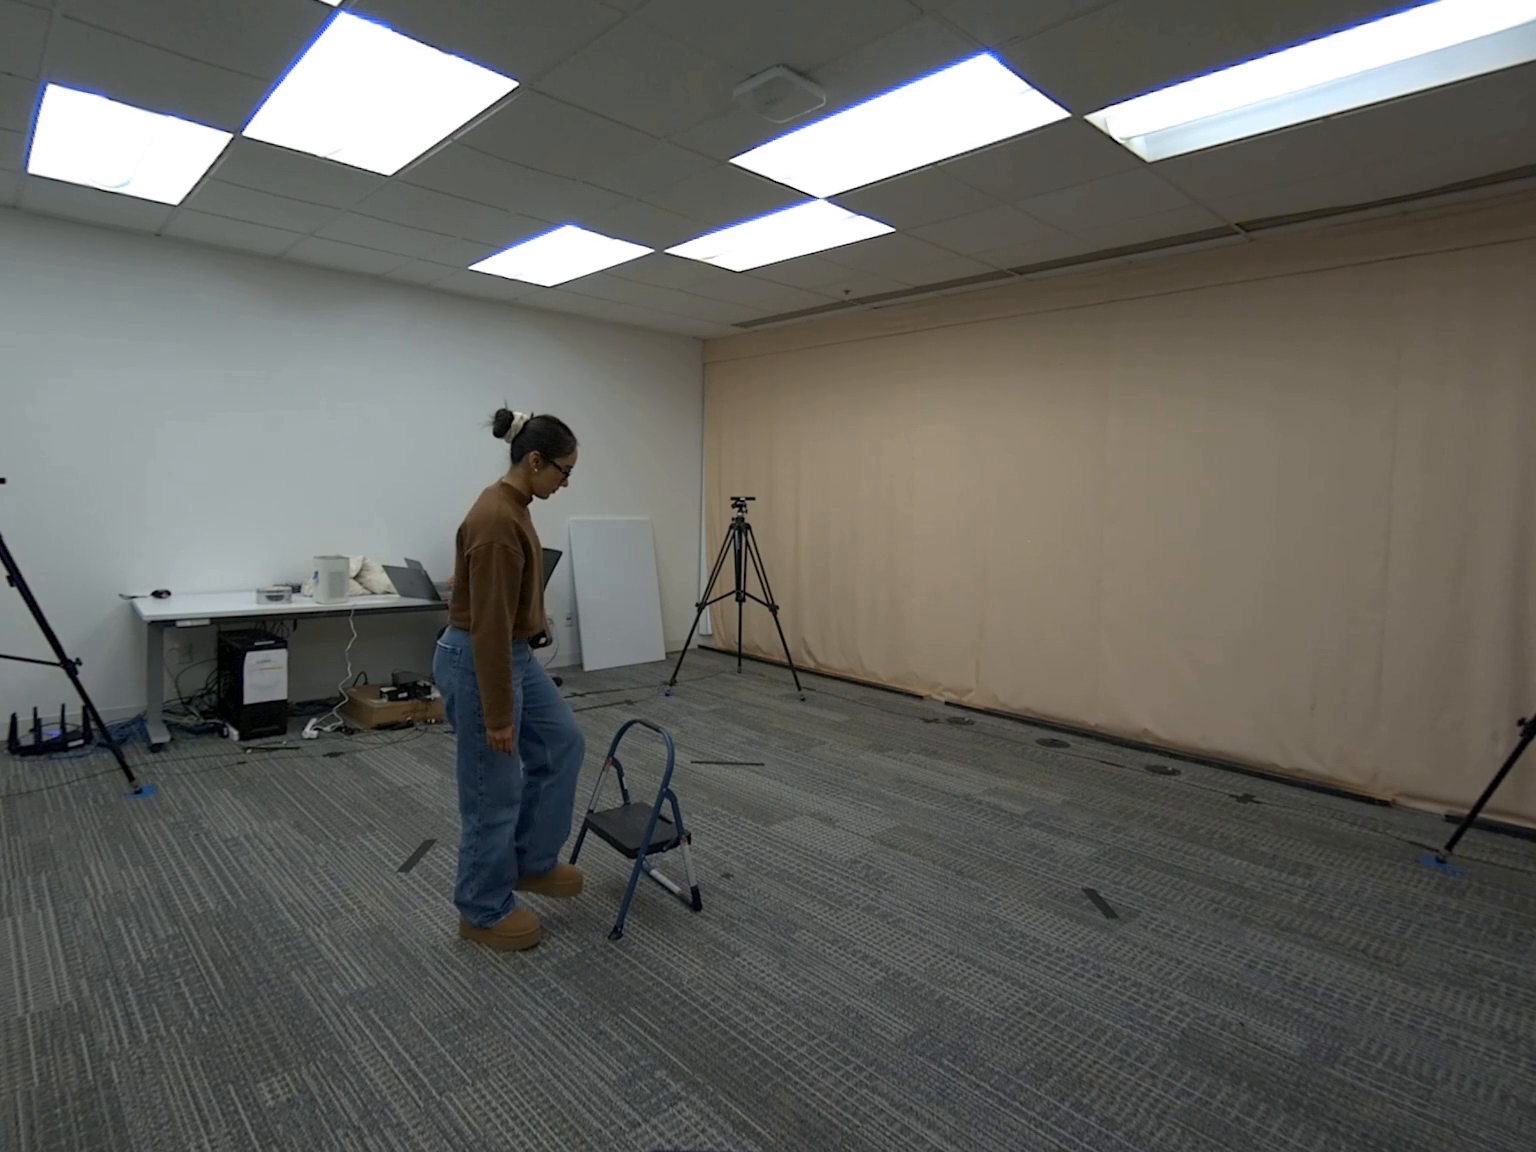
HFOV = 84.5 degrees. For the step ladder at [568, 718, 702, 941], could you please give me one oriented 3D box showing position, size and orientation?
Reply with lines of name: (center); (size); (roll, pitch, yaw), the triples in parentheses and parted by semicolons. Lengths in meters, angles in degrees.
step ladder: (-0.478, 0.816, 2.888); (0.341, 0.605, 0.441); (-1, 4, -37)
